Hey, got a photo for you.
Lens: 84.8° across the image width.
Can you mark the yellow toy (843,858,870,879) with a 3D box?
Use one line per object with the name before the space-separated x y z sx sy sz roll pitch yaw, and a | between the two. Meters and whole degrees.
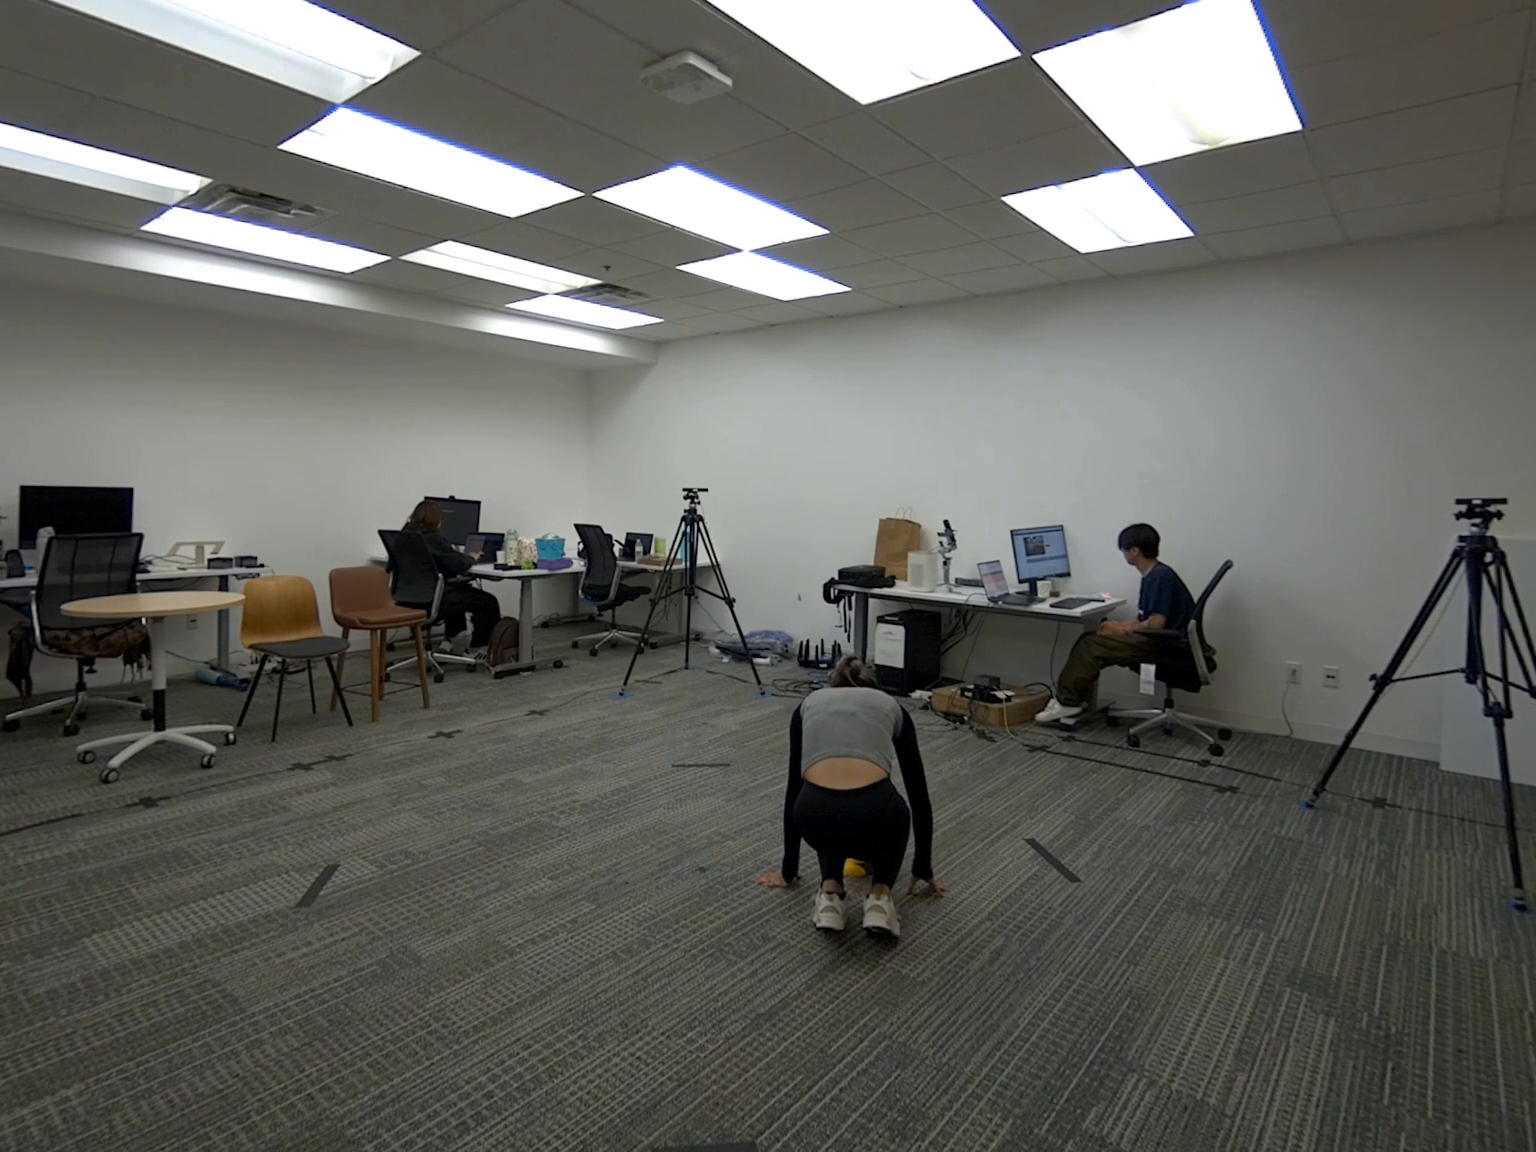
yellow toy | 0.338 0.959 3.156 0.200 0.230 0.199 0 5 -27
